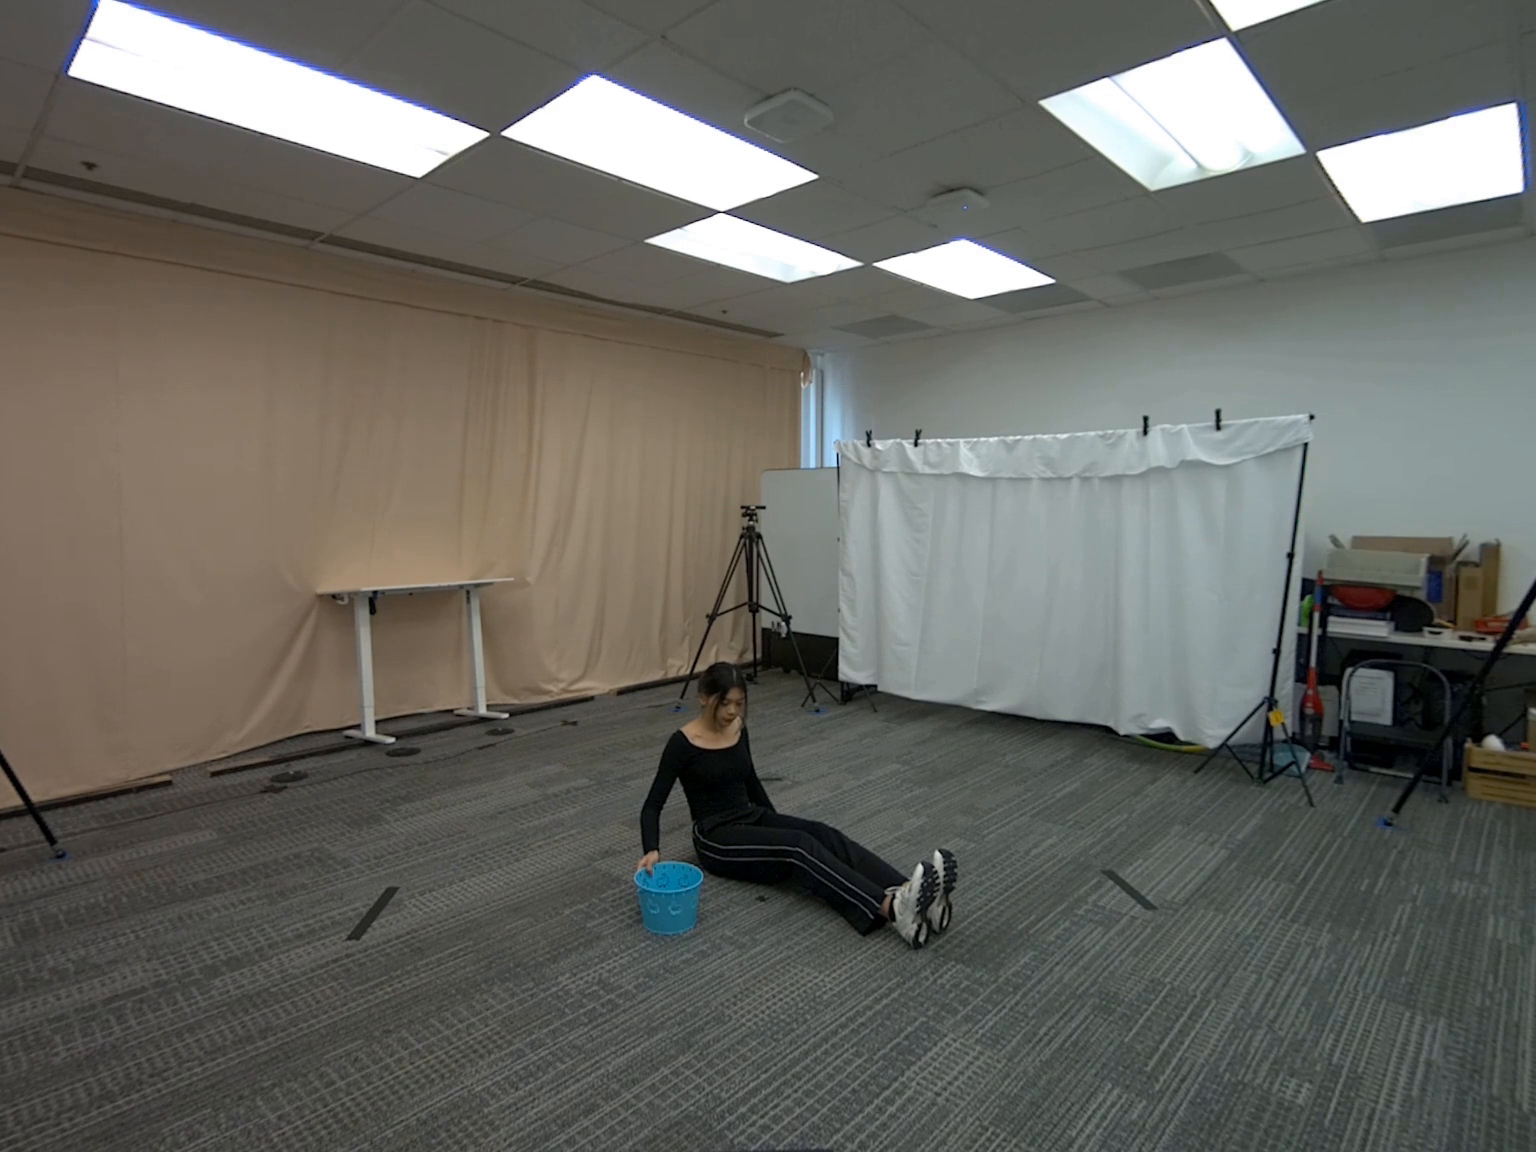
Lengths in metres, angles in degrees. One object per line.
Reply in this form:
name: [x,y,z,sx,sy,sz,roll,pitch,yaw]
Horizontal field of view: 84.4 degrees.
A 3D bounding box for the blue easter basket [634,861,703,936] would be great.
blue easter basket: [-0.335,1.077,2.835,0.243,0.155,0.244,-1,4,-2]
